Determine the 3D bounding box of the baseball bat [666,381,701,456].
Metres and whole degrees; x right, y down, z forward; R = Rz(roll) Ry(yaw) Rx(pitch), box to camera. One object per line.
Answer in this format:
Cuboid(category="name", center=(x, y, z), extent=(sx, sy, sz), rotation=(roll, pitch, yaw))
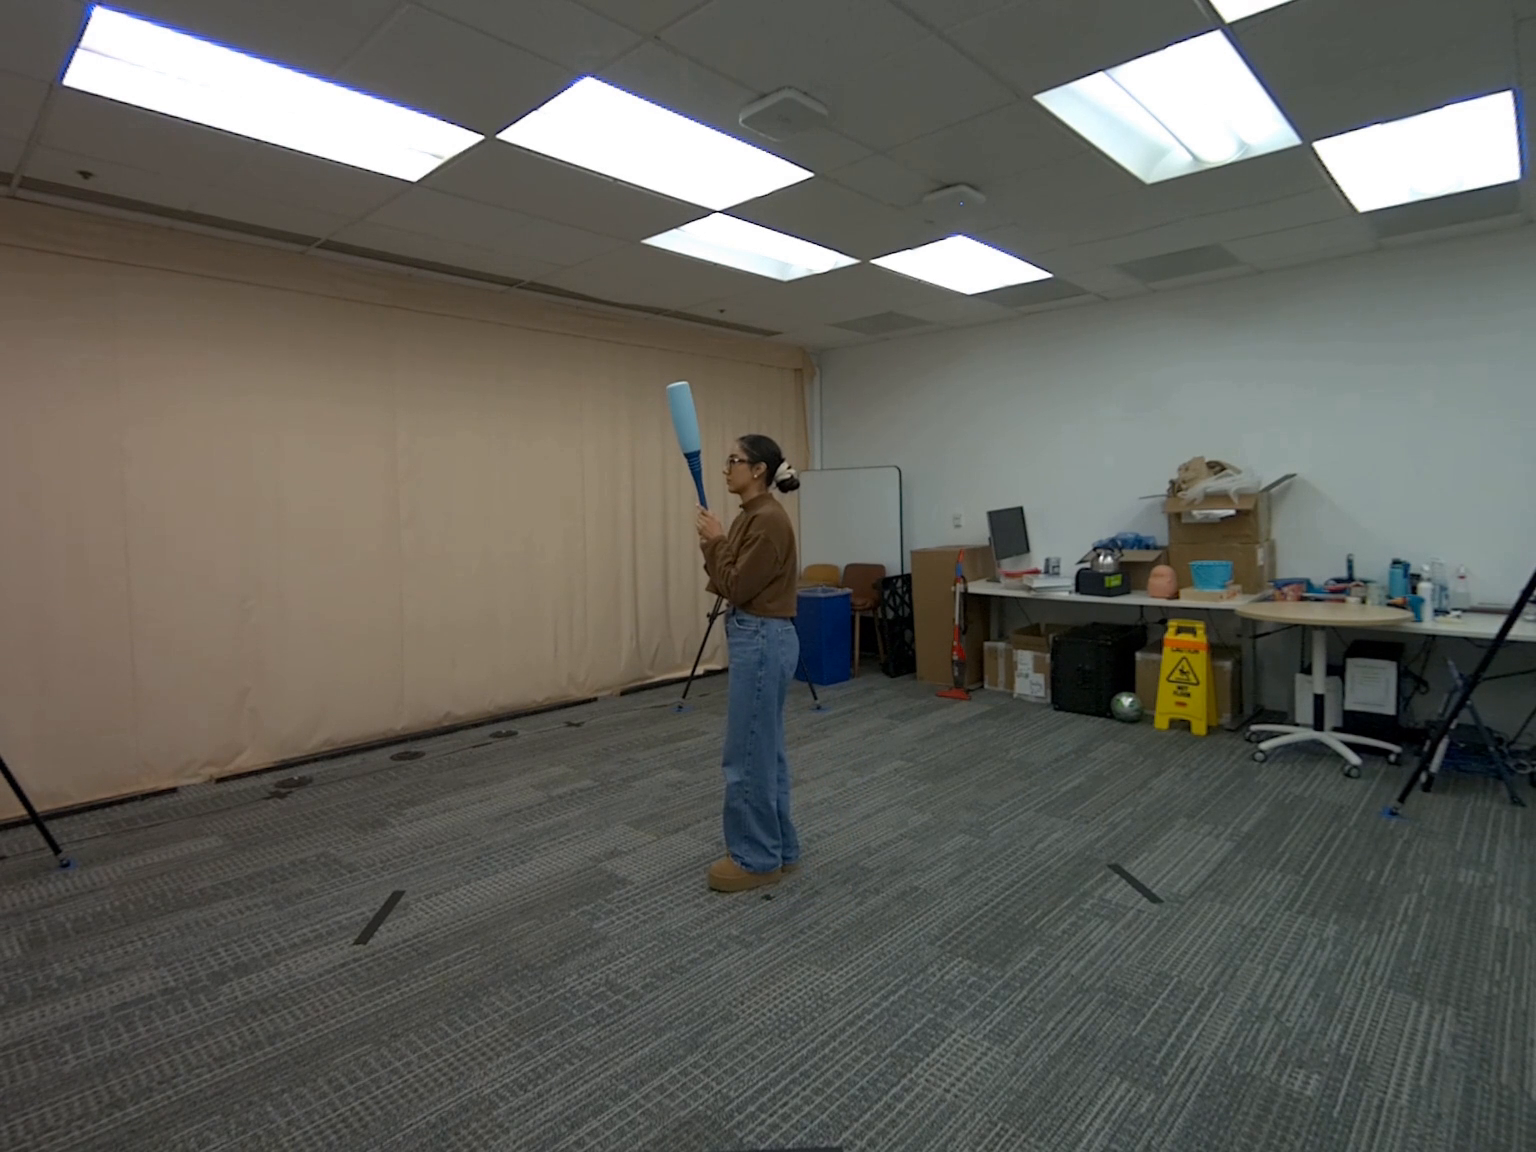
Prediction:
Cuboid(category="baseball bat", center=(-0.279, -0.436, 3.078), extent=(0.089, 0.538, 0.090), rotation=(-11, 10, 0))
